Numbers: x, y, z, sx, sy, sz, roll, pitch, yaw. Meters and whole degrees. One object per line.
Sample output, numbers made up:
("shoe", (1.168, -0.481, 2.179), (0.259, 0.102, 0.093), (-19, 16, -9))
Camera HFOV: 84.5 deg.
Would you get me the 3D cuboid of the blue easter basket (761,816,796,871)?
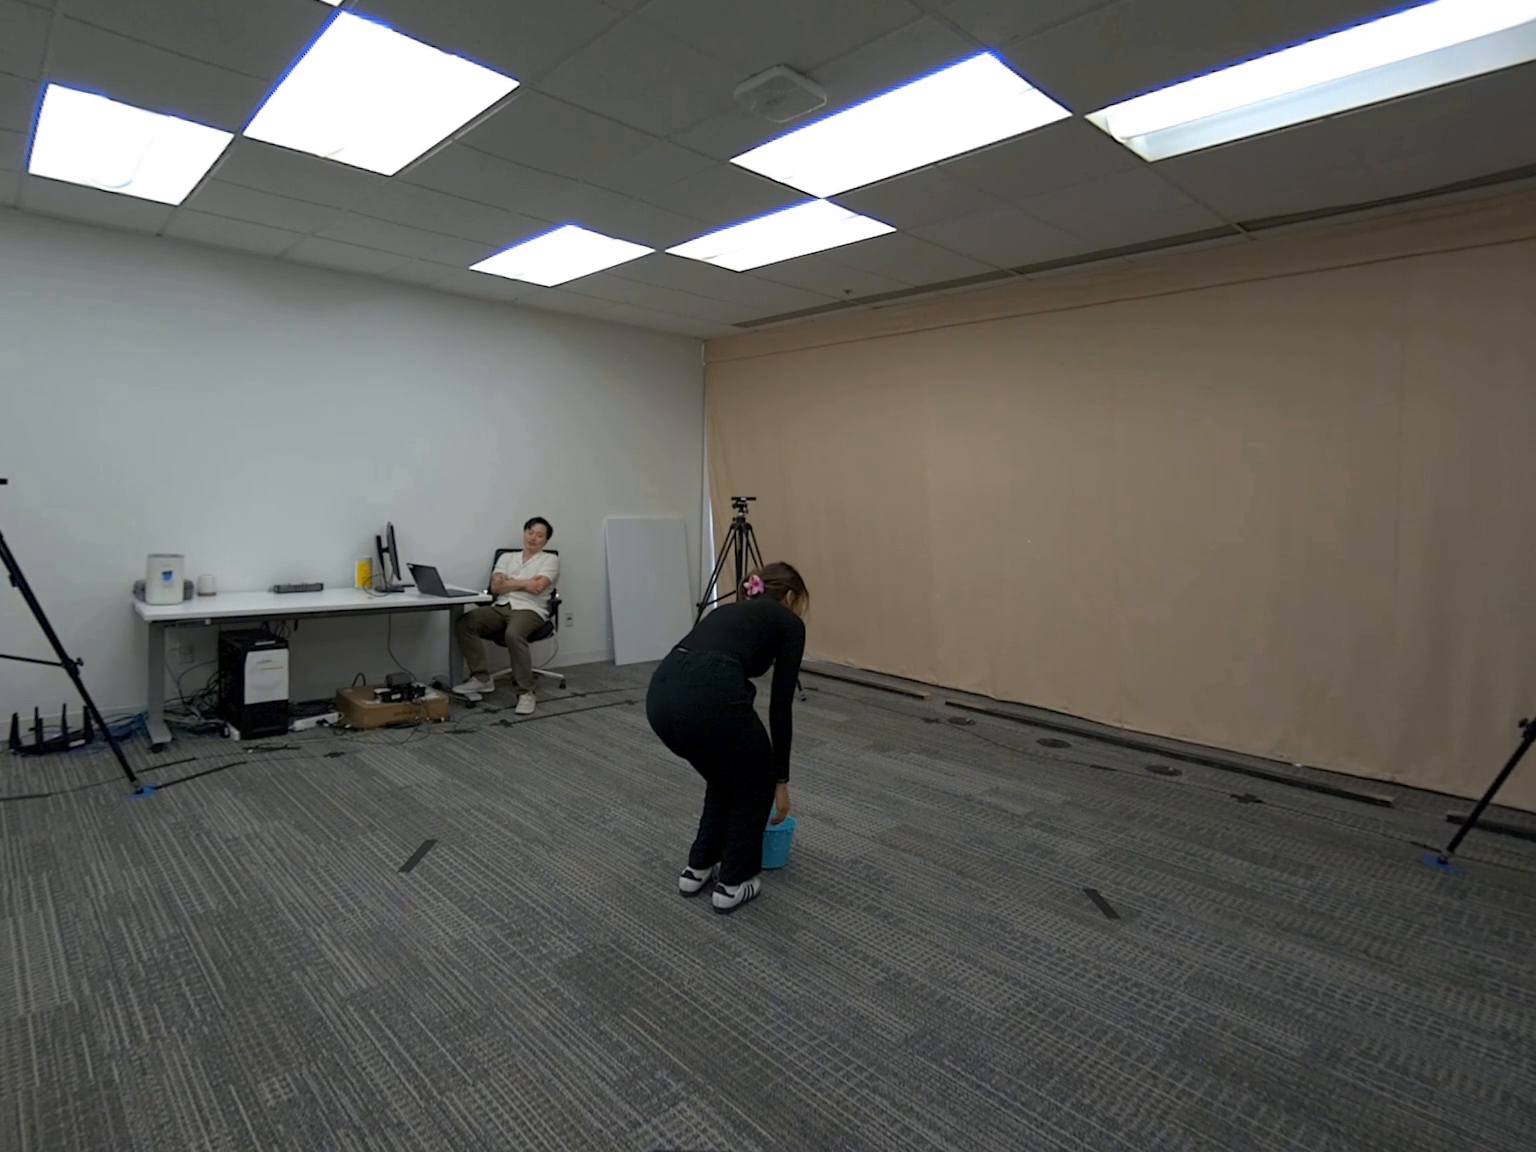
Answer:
("blue easter basket", (-0.010, 1.014, 3.243), (0.243, 0.156, 0.244), (4, 1, -1))
